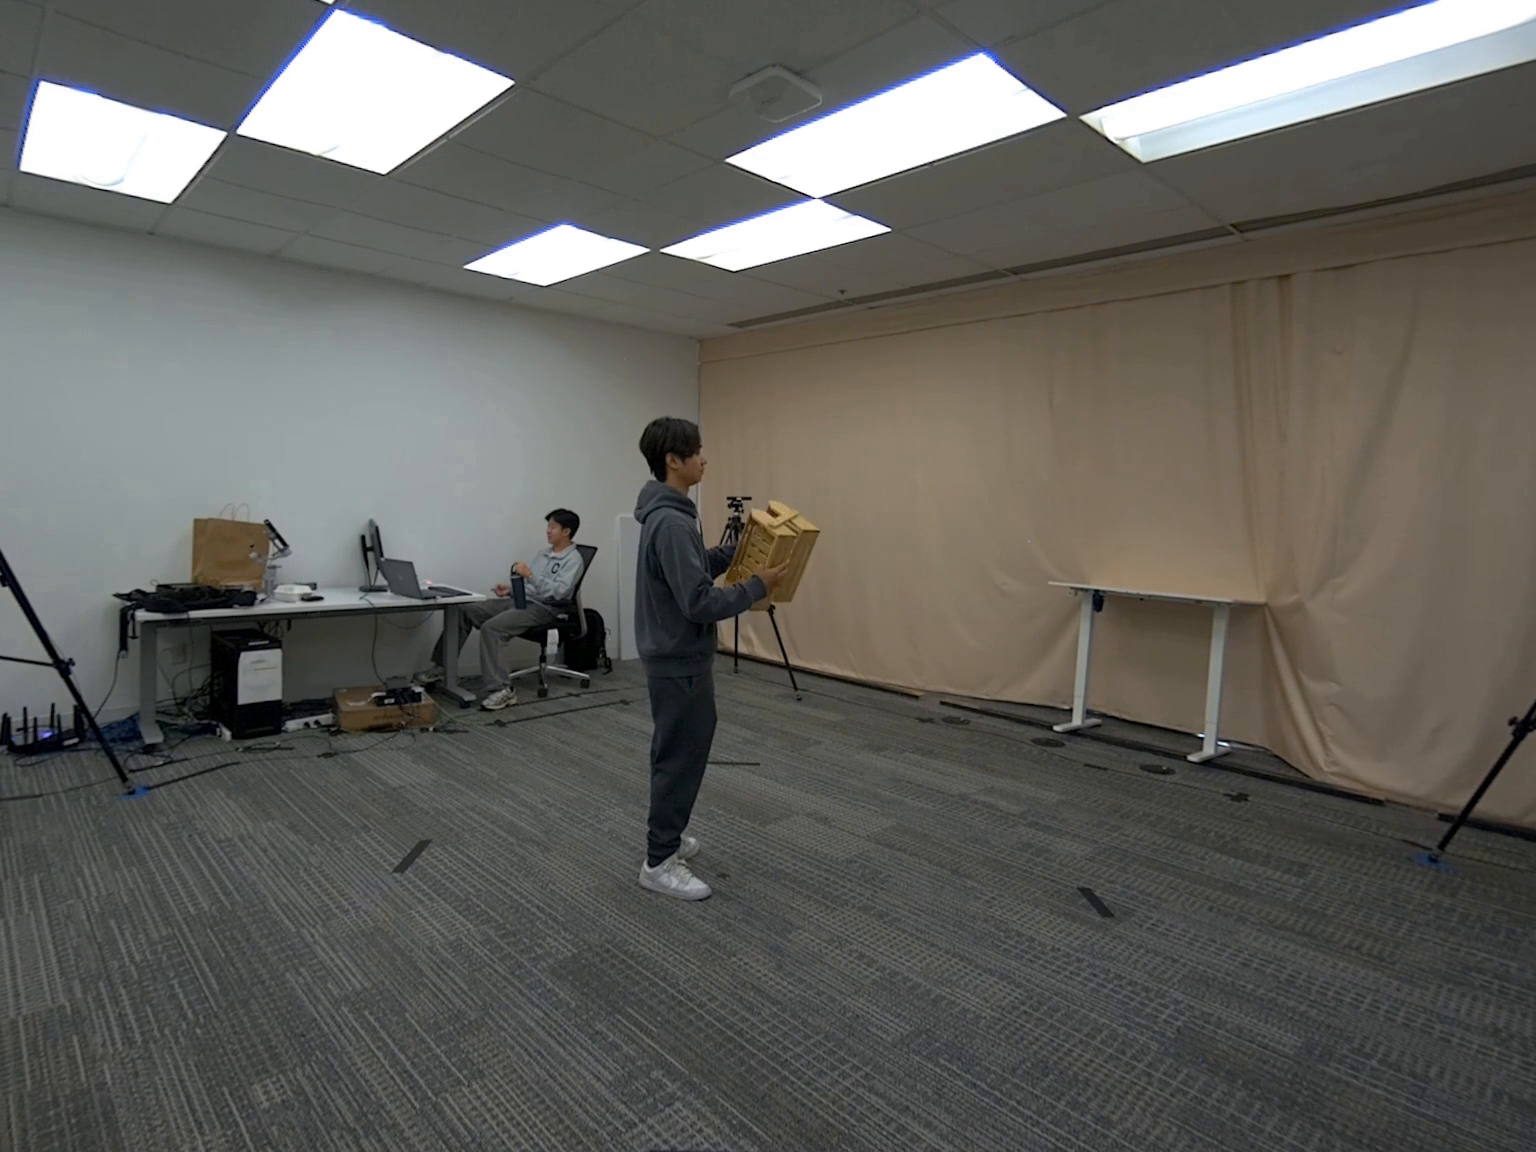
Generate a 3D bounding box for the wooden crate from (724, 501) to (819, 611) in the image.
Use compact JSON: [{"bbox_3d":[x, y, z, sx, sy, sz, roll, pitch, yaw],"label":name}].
[{"bbox_3d":[-0.027,-0.082,3.068,0.267,0.322,0.312,1,28,-44],"label":"wooden crate"}]
